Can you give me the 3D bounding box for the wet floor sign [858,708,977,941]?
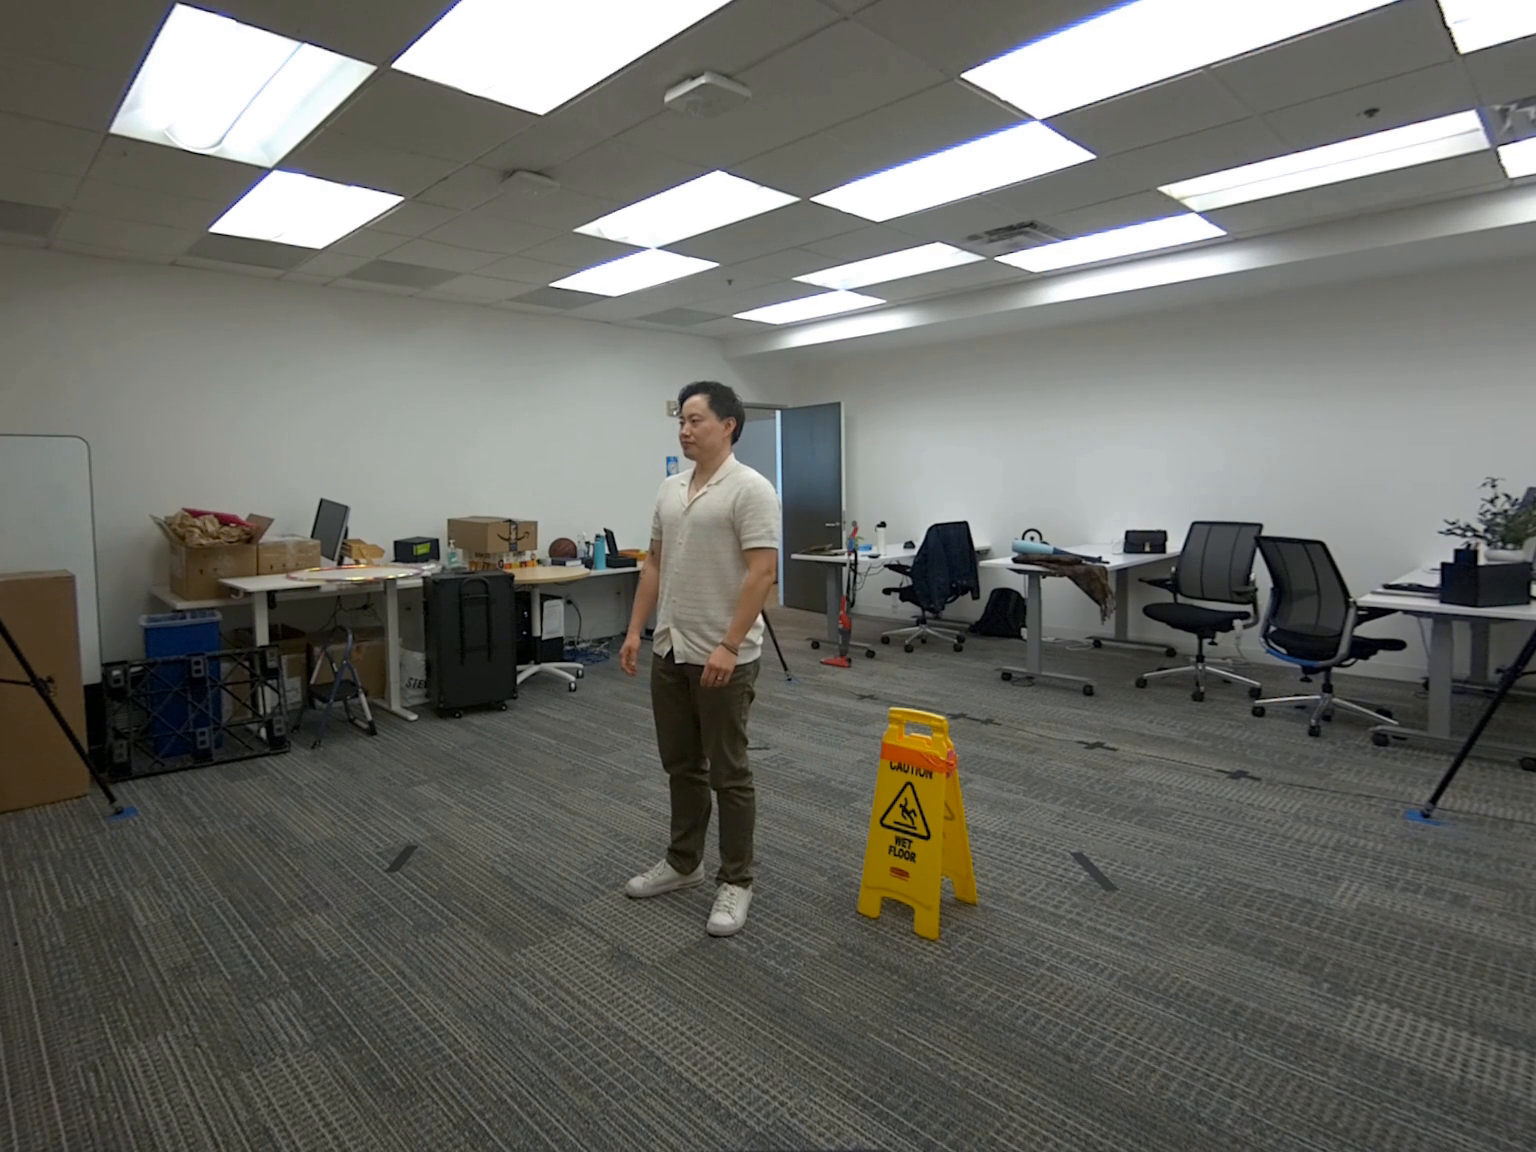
[{"bbox_3d":[0.480,0.750,2.739,0.290,0.644,0.282,2,5,39],"label":"wet floor sign"}]
